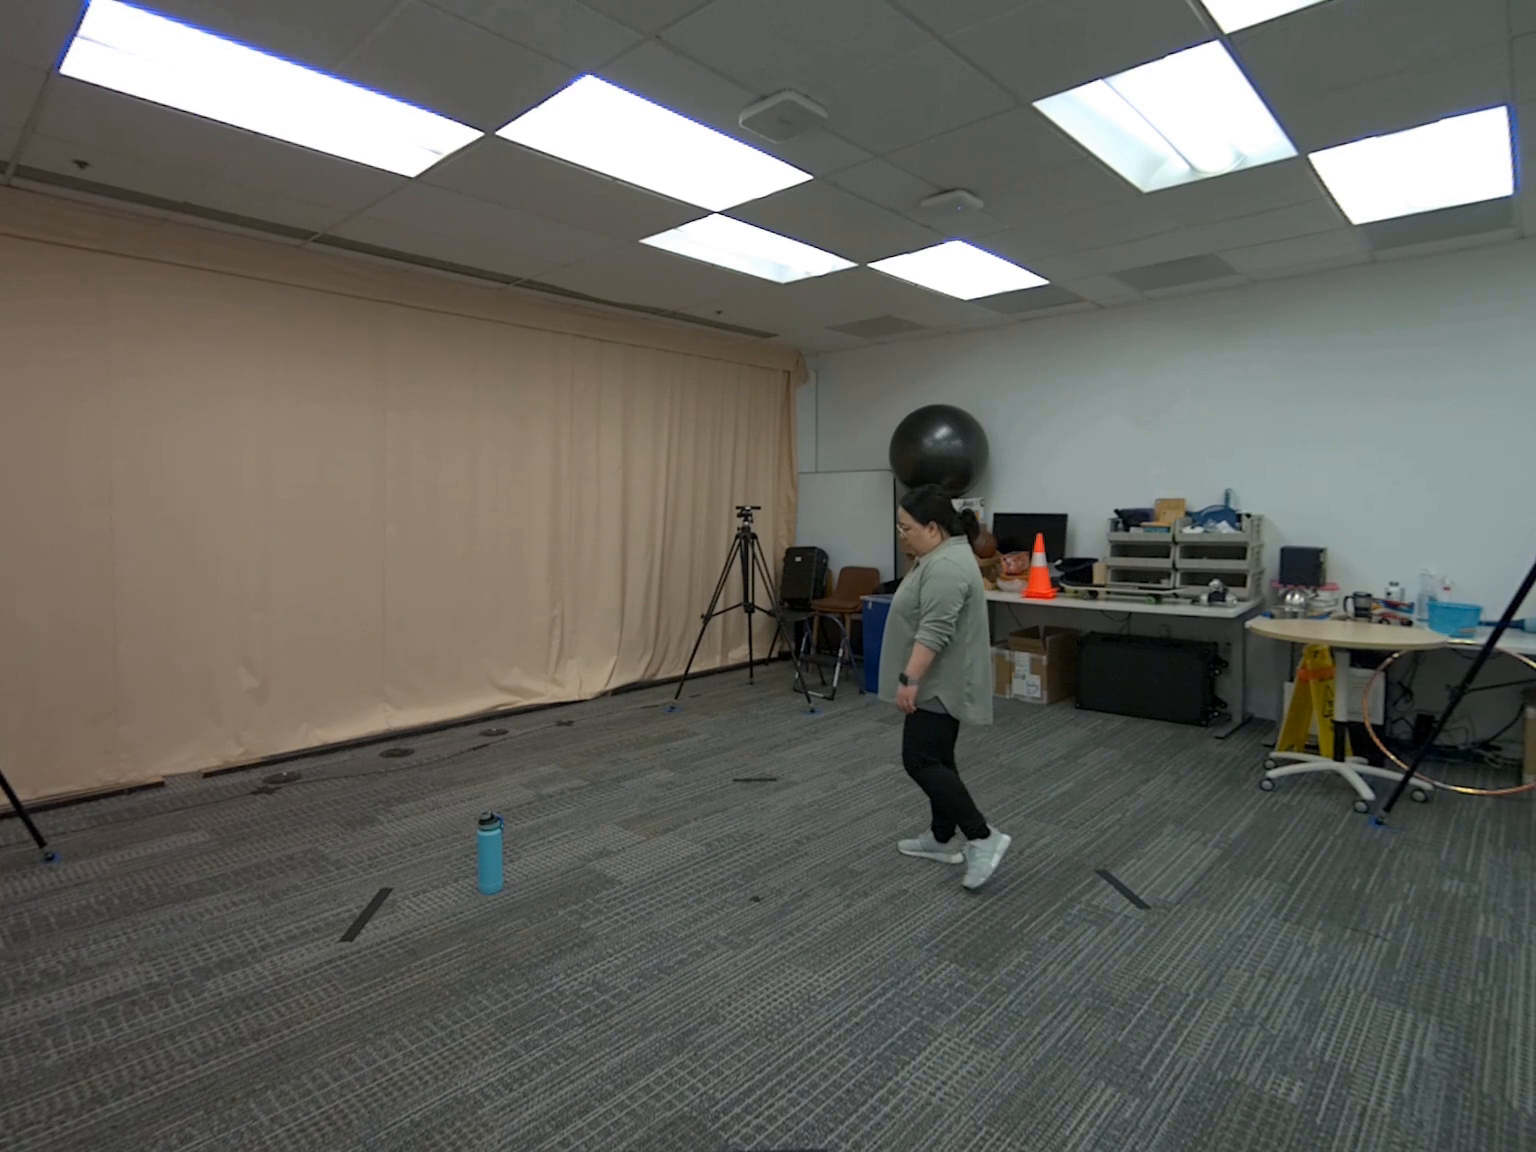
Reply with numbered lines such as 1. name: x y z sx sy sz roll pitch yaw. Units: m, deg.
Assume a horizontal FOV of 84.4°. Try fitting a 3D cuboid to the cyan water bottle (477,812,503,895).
1. cyan water bottle: -1.021 1.009 3.081 0.092 0.283 0.092 0 0 -2
